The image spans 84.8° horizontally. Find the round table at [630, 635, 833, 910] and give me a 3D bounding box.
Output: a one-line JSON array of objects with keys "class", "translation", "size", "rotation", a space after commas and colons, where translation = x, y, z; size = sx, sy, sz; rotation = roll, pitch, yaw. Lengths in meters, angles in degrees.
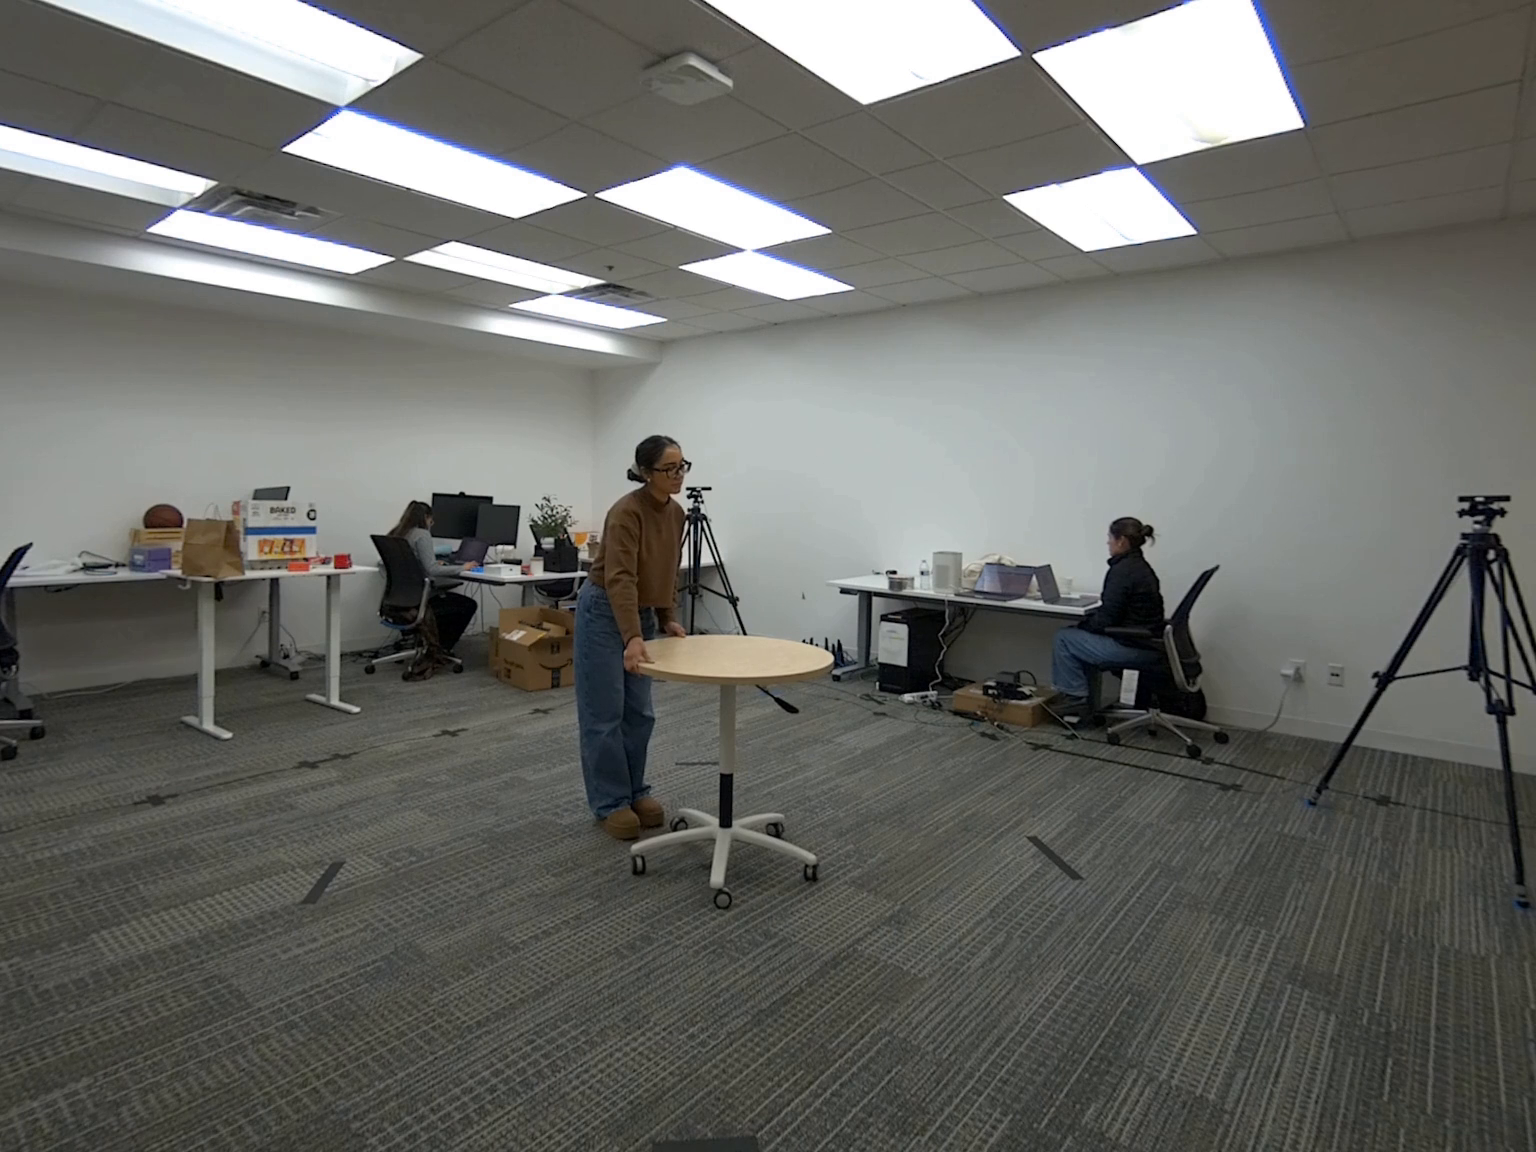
[{"class": "round table", "translation": [-0.163, 0.673, 3.135], "size": [0.763, 0.791, 0.768], "rotation": [1, 4, -2]}]
